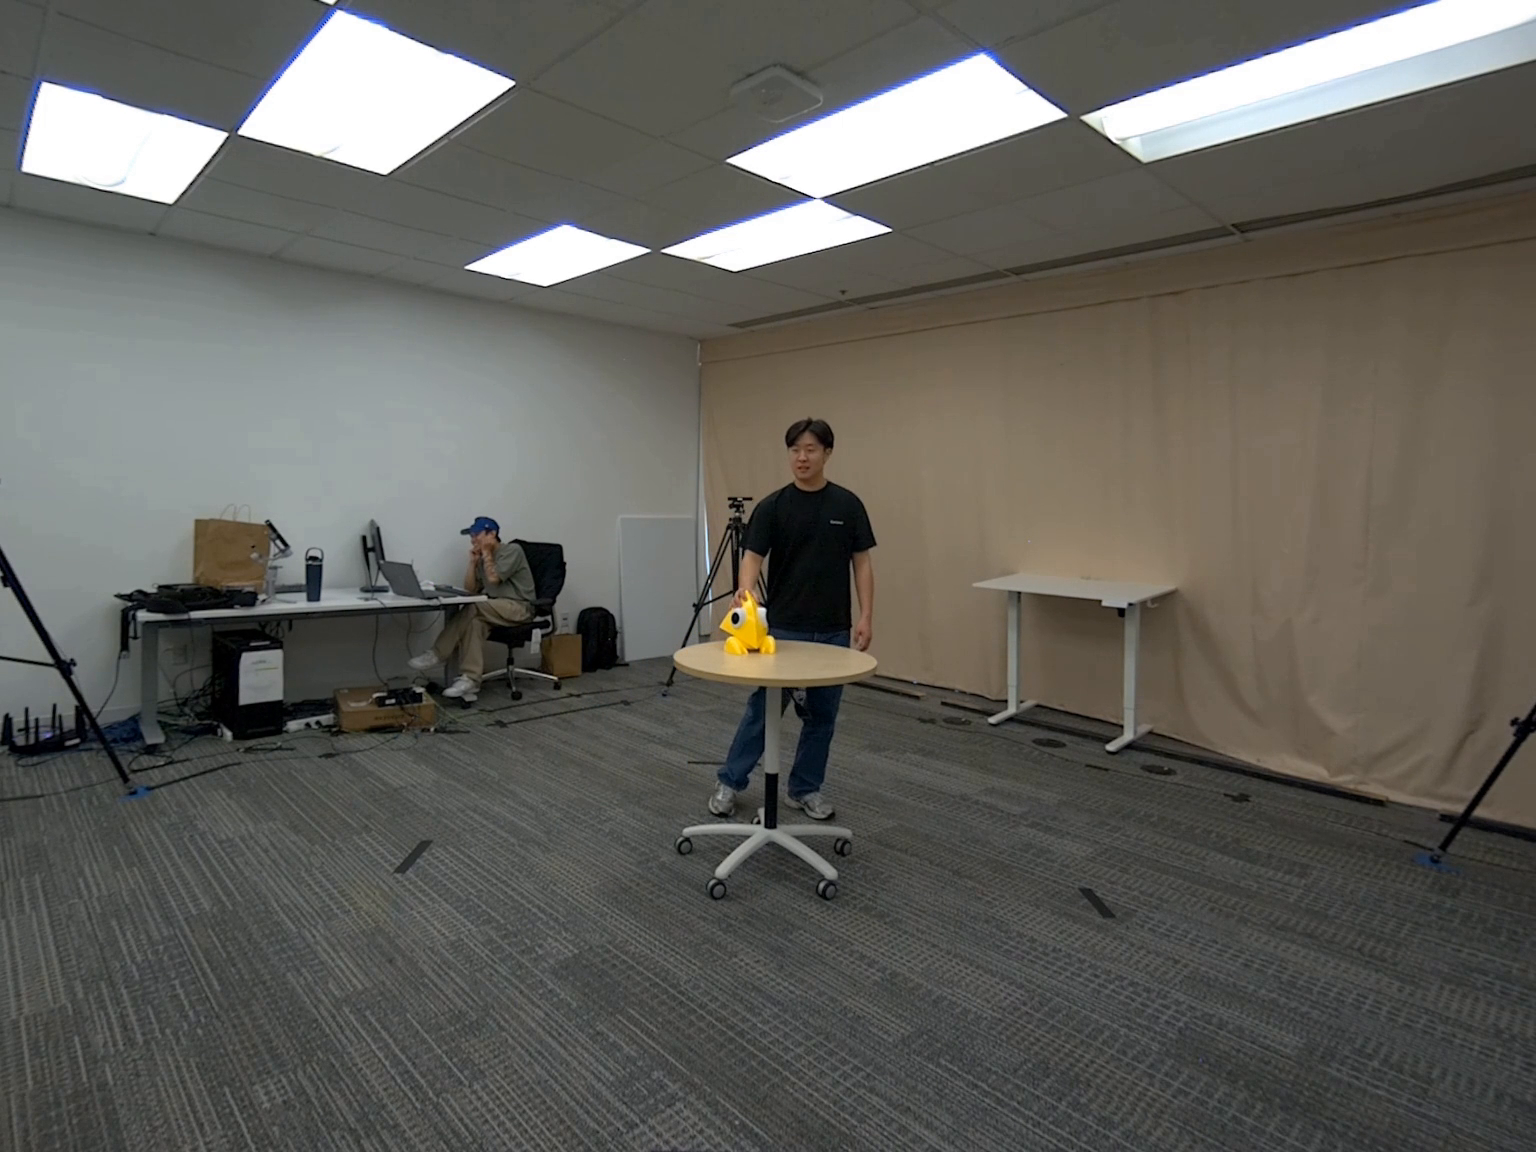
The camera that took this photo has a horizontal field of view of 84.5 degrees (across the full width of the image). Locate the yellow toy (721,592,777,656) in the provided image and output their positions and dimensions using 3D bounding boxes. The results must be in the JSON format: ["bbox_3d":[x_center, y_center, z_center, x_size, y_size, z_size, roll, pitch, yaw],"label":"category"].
[{"bbox_3d":[-0.077,0.179,3.309,0.202,0.230,0.196,0,3,-17],"label":"yellow toy"}]
